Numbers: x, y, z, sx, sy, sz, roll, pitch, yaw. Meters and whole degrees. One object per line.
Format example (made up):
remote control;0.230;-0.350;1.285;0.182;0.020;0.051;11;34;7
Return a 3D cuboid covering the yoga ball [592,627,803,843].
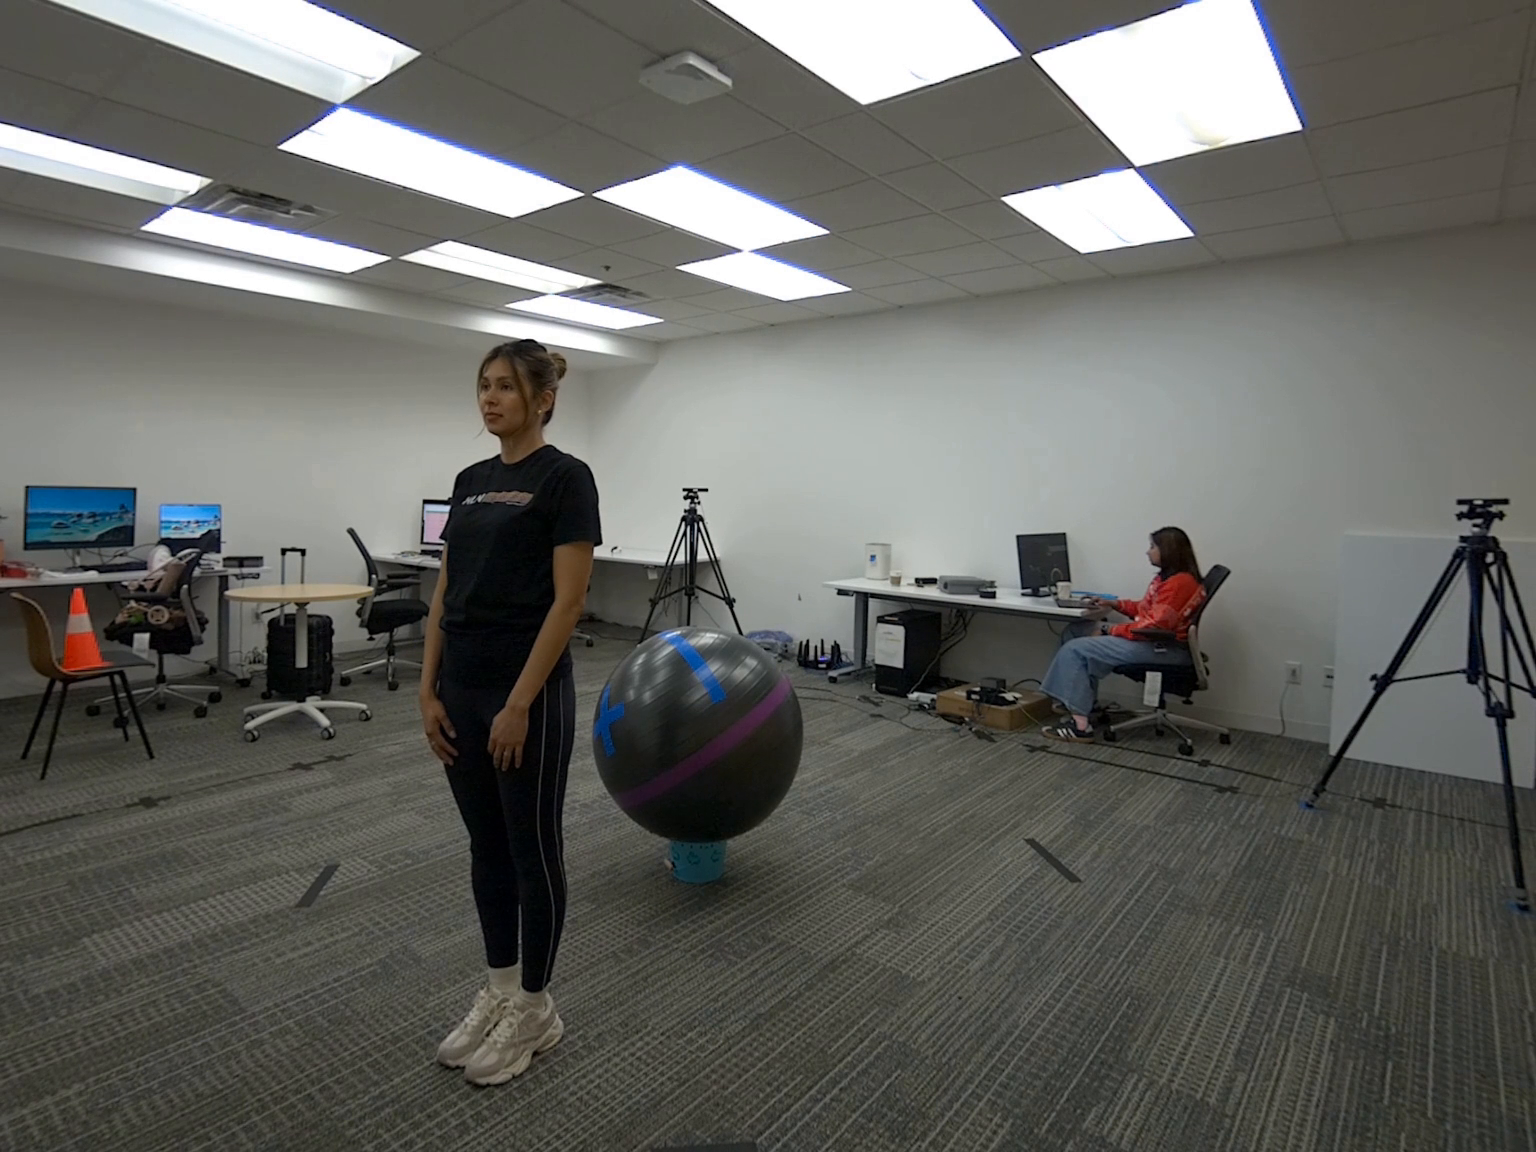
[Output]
yoga ball;-0.264;0.562;3.070;0.757;0.755;0.762;1;4;-2
